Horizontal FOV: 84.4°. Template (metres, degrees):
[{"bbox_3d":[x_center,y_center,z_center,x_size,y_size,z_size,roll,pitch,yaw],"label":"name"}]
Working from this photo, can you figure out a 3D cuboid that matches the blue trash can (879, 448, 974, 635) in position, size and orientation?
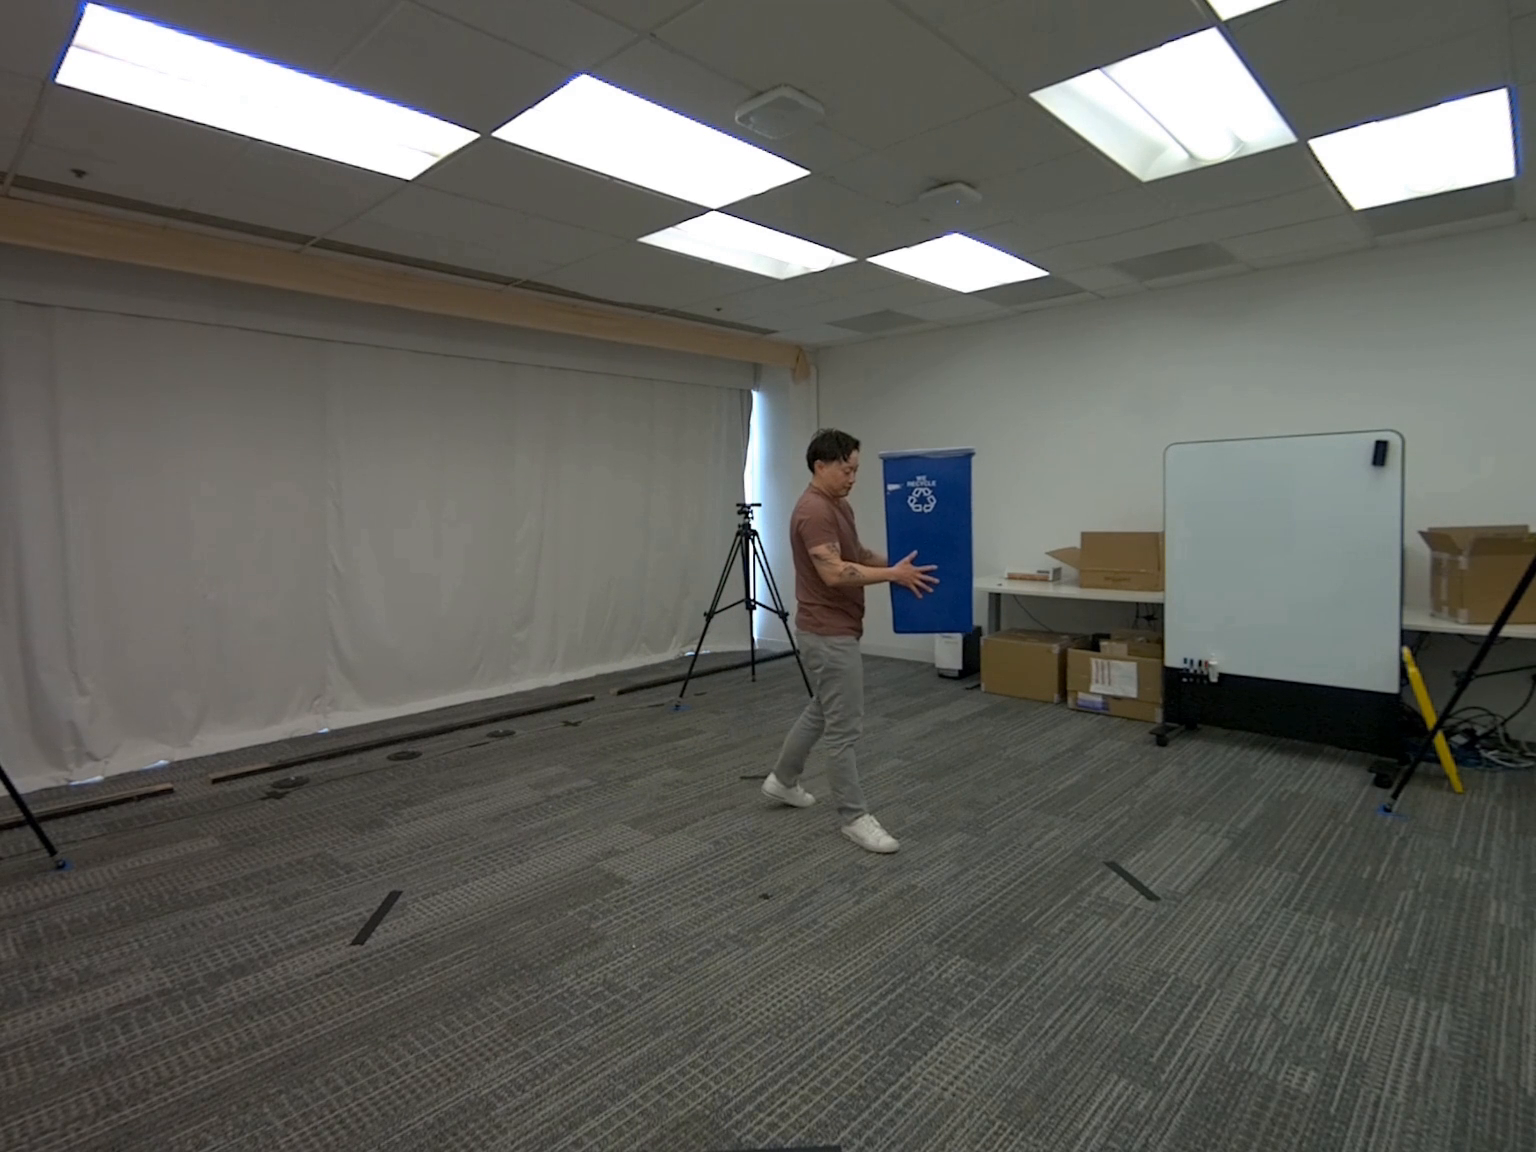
[{"bbox_3d":[0.662,-0.147,3.403,0.380,0.712,0.373,-3,4,13],"label":"blue trash can"}]
